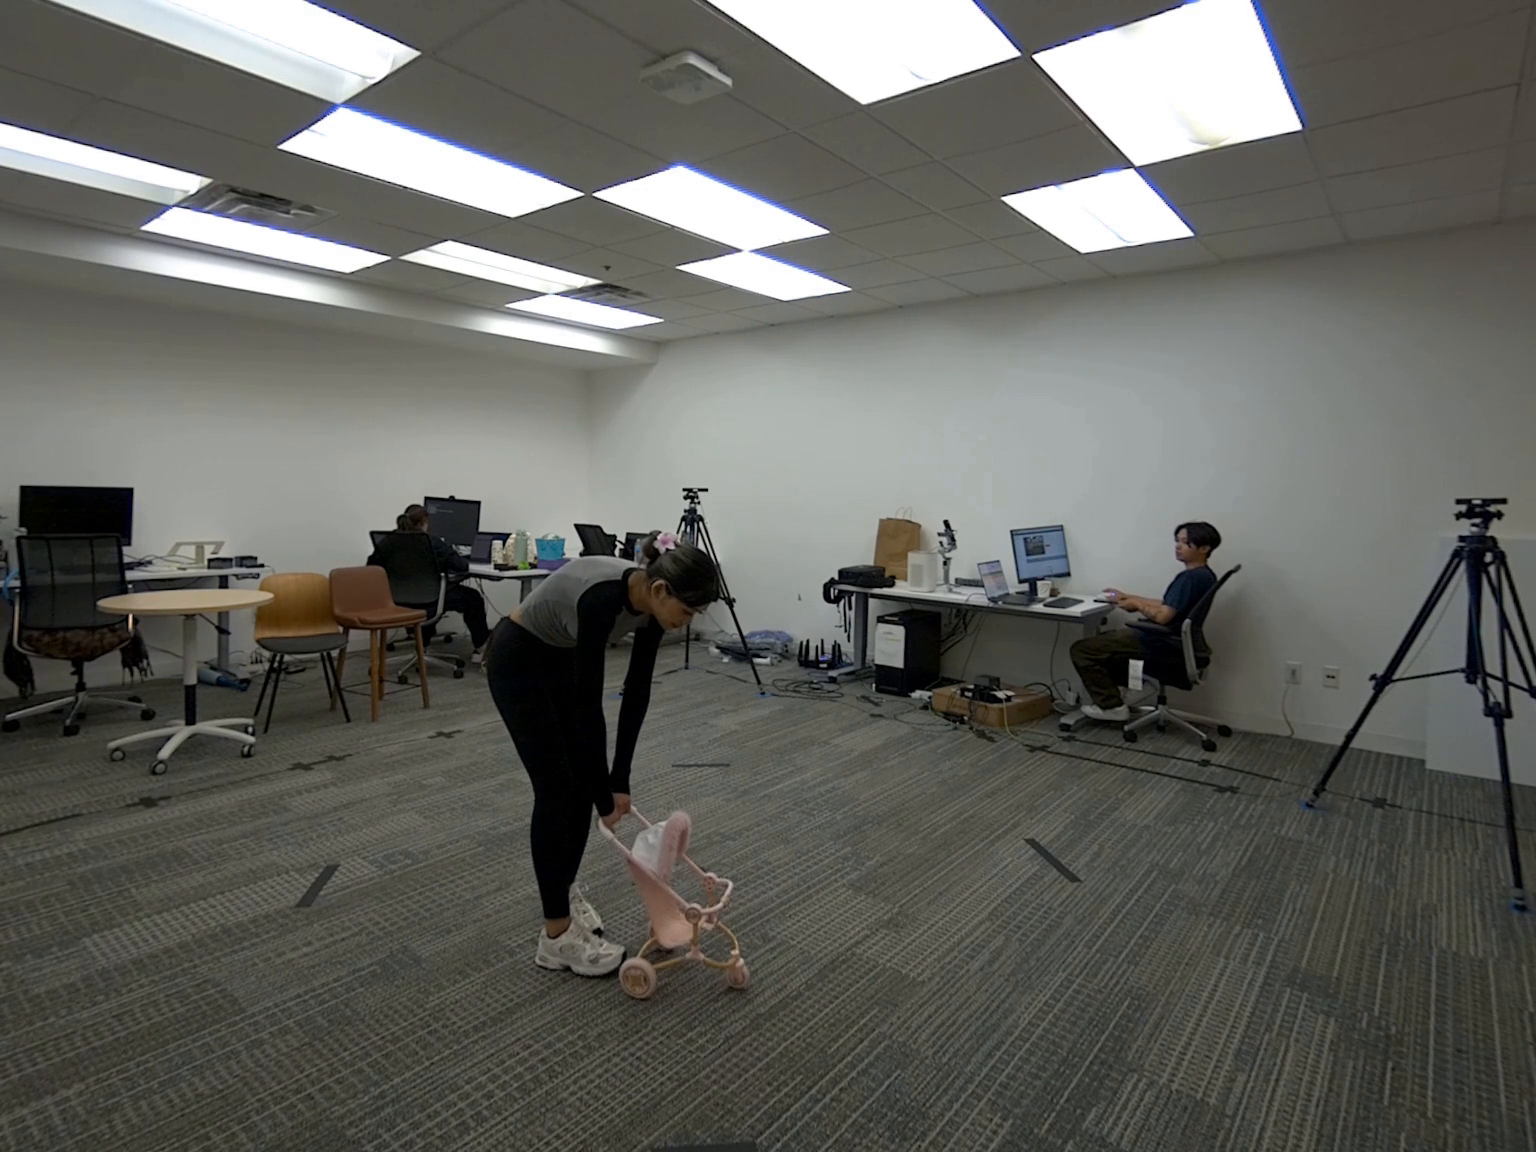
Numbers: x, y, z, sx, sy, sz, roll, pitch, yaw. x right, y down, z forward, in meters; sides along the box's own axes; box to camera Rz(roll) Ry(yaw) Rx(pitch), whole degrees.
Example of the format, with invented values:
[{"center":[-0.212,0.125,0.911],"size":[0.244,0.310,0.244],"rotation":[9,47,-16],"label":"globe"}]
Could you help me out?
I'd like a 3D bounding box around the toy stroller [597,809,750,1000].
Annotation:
[{"center":[-0.254,0.909,2.398],"size":[0.346,0.535,0.277],"rotation":[-11,0,17],"label":"toy stroller"}]
